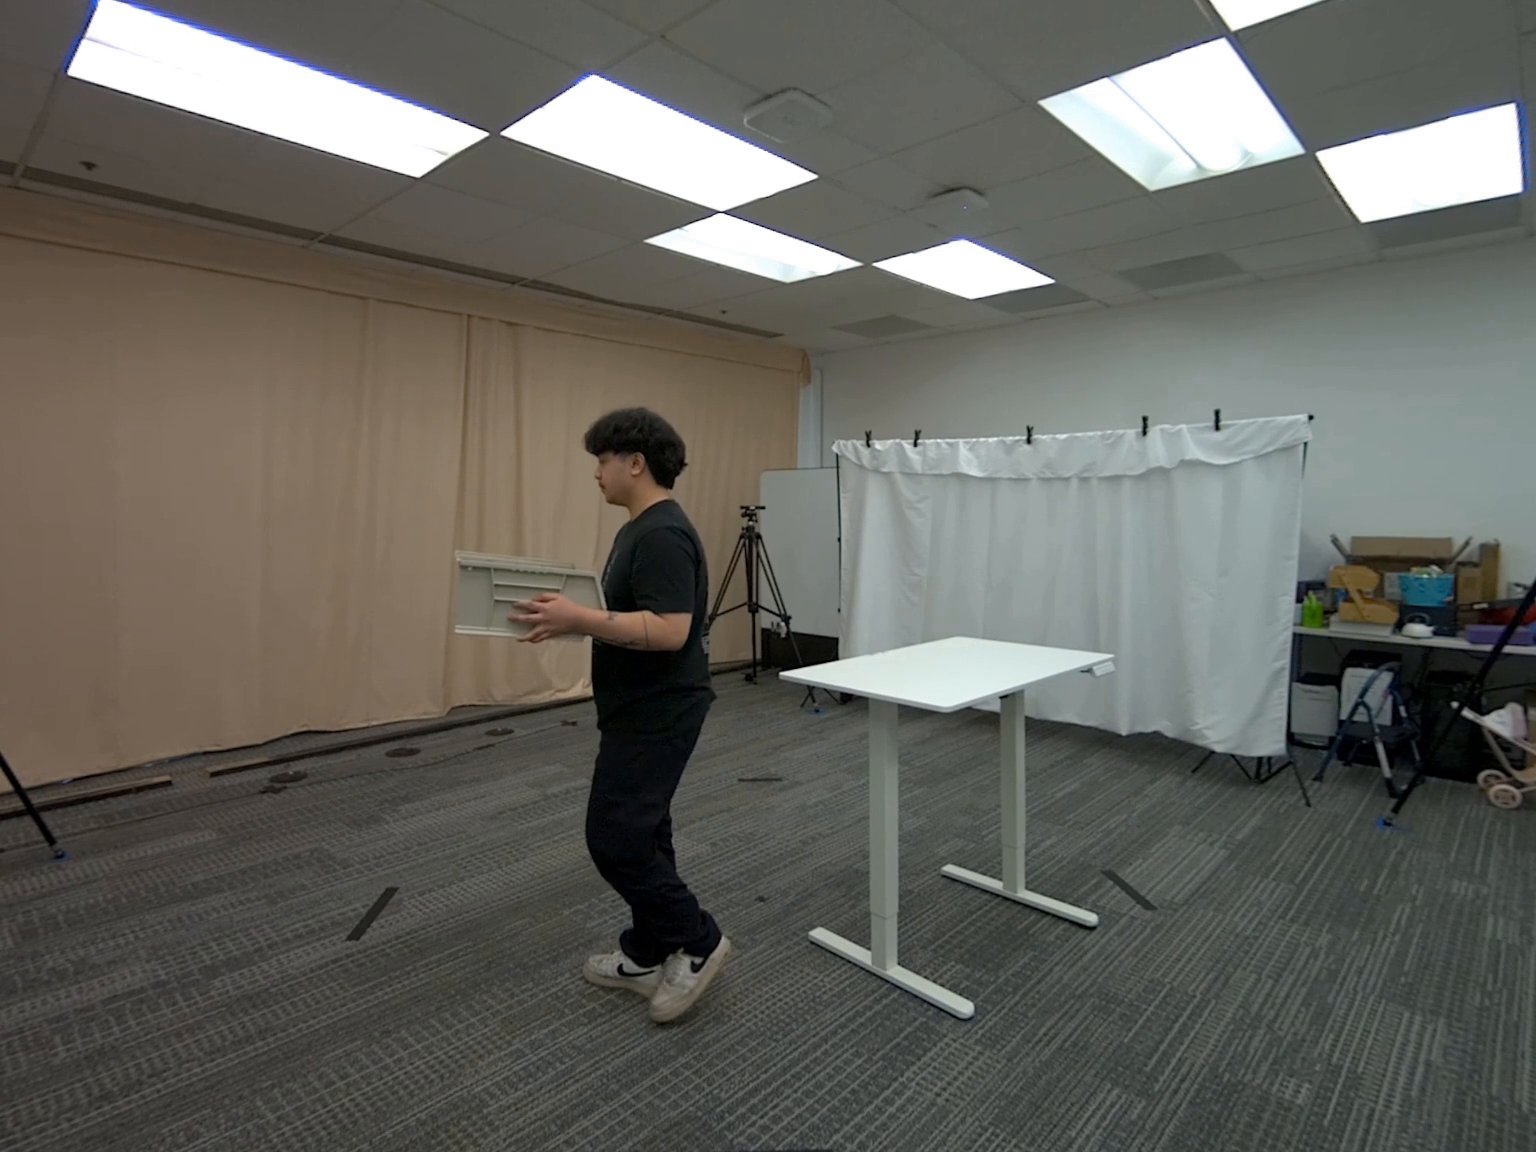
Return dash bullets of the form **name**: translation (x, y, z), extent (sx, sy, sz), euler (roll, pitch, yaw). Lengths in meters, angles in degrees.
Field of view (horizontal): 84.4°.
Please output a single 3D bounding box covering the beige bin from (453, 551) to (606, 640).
- **beige bin**: translation (-0.653, 0.055, 2.281), extent (0.370, 0.189, 0.431), euler (4, 3, -19)
